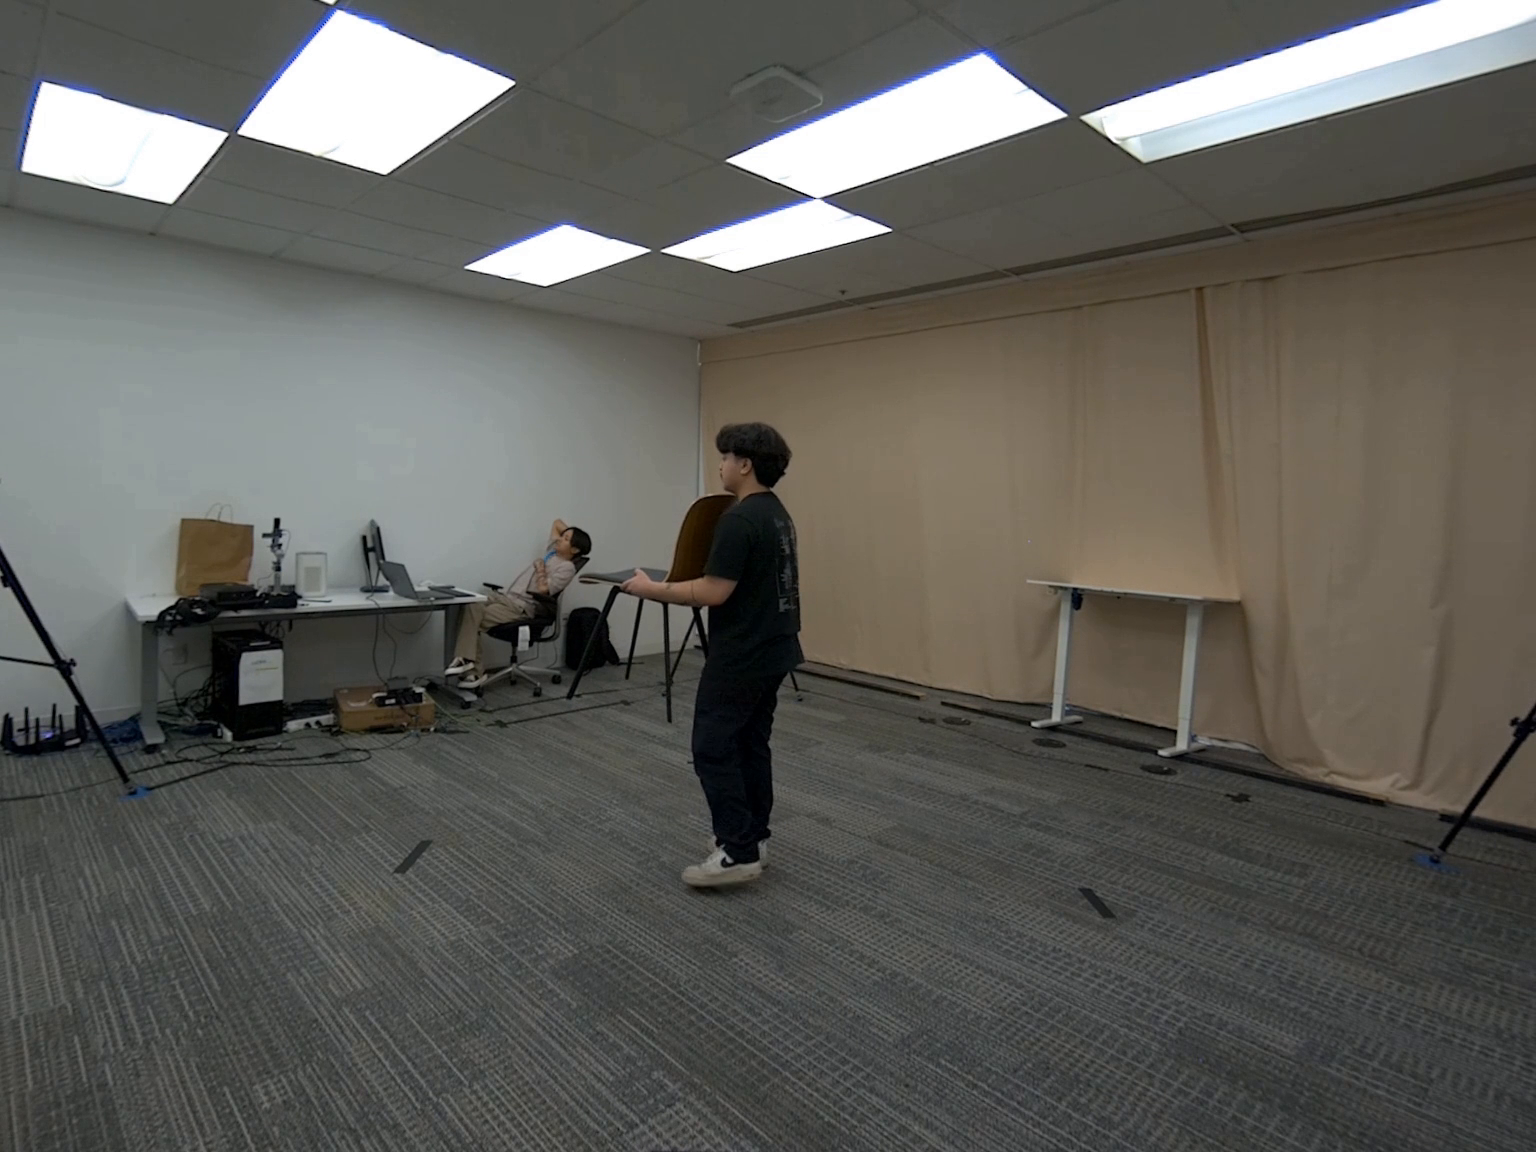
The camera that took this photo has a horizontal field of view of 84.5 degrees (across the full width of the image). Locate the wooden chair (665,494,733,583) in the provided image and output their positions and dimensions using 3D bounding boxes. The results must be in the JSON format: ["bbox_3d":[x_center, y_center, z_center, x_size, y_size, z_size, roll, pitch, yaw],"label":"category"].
[{"bbox_3d":[-0.449,0.079,3.304,0.533,0.874,0.471,12,7,21],"label":"wooden chair"}]
